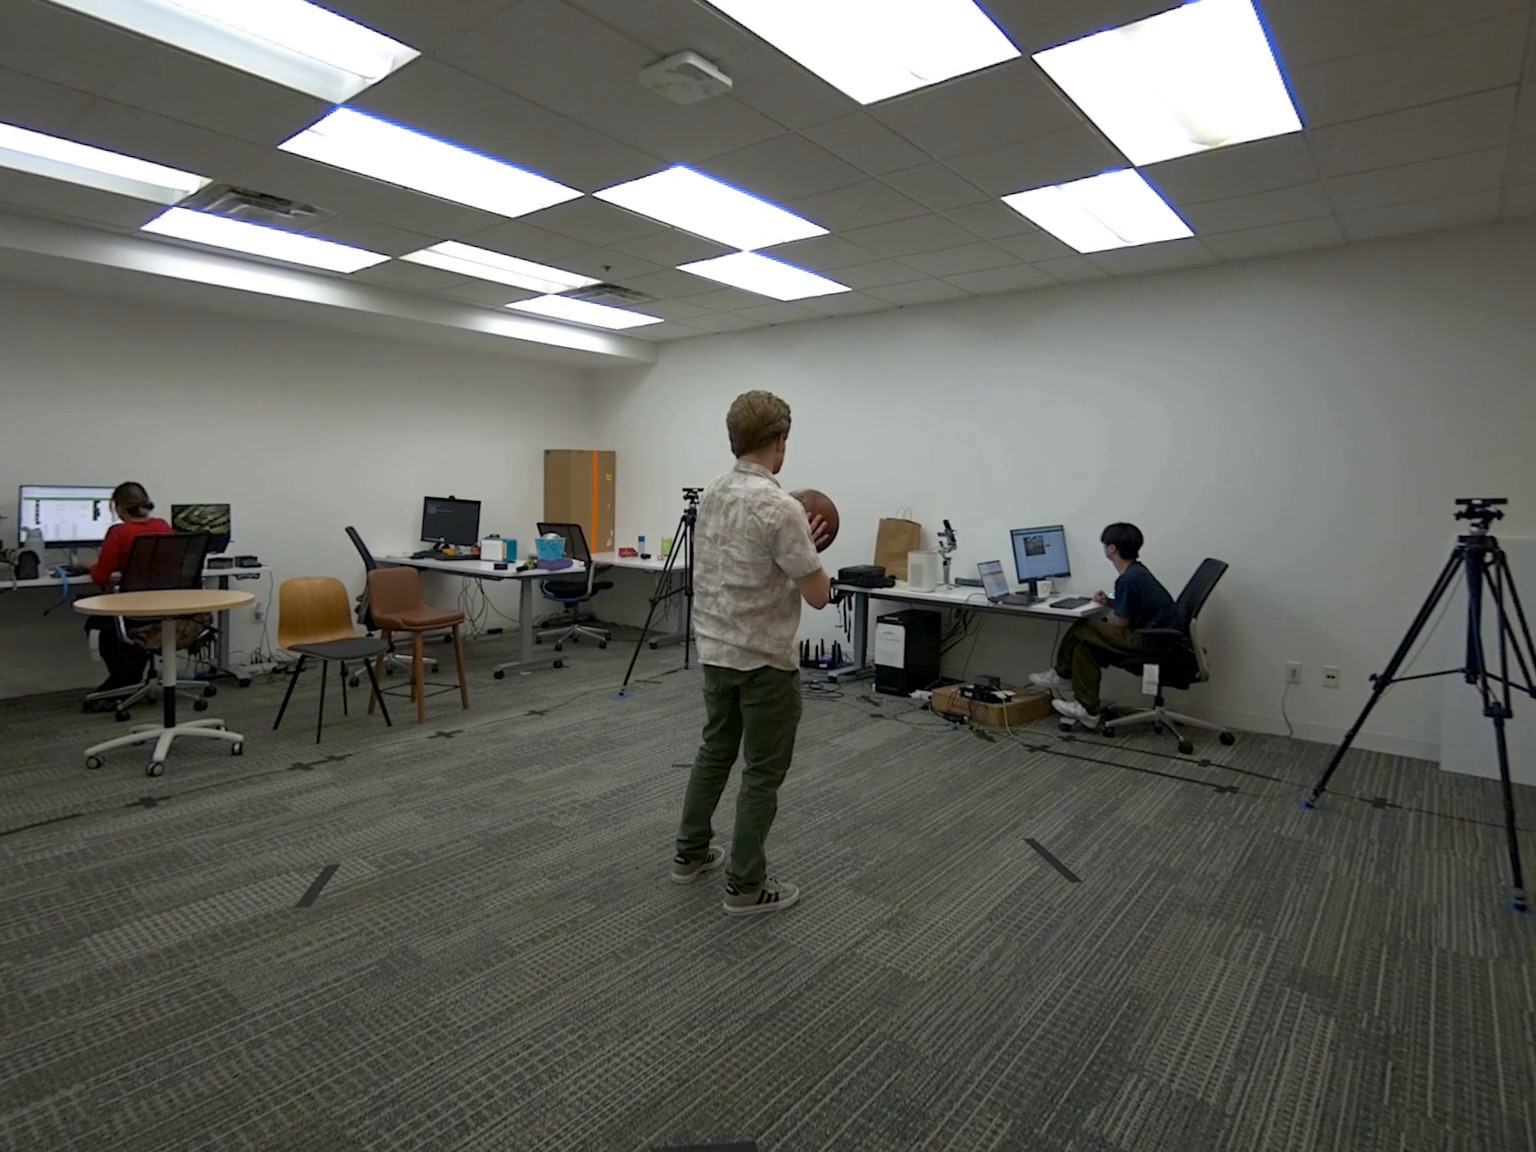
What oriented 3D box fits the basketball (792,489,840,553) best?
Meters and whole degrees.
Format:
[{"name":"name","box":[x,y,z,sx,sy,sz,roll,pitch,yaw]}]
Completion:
[{"name":"basketball","box":[0.132,-0.193,3.025,0.235,0.235,0.237,1,4,-2]}]
